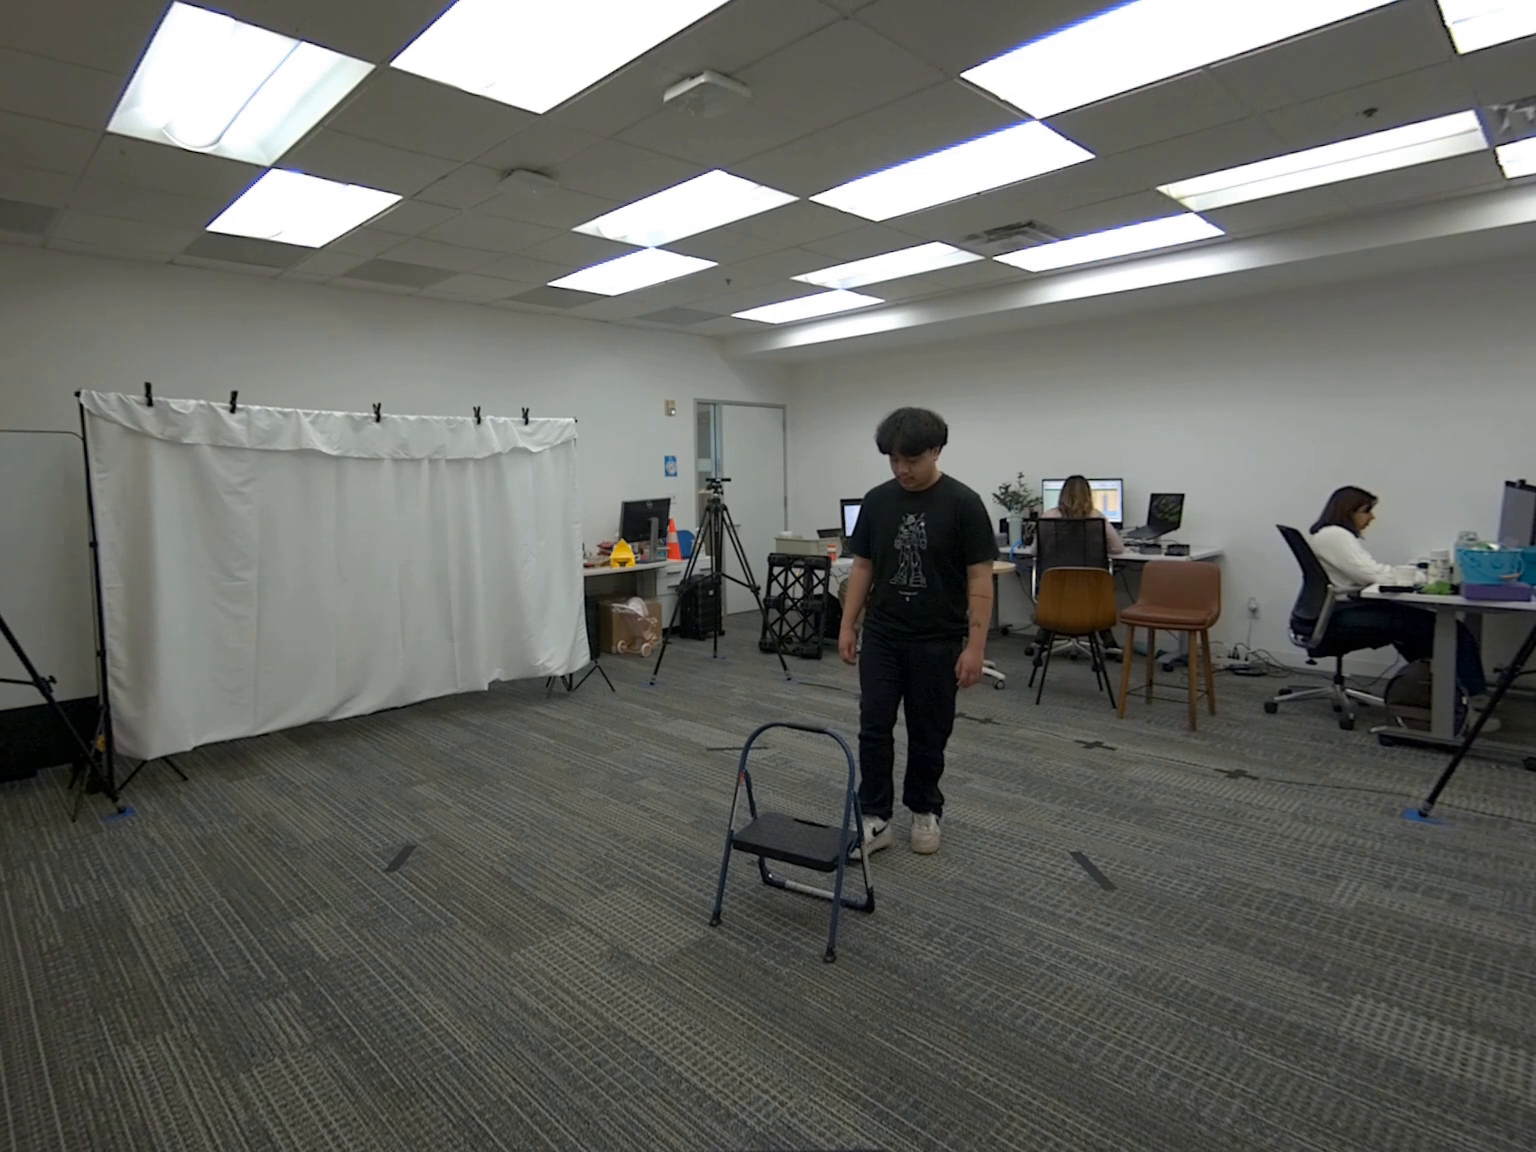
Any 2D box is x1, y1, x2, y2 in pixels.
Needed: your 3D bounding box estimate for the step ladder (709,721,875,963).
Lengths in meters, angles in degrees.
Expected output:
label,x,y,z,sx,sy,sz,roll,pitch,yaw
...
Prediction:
label,x,y,z,sx,sy,sz,roll,pitch,yaw
step ladder,0.081,0.784,2.691,0.442,0.603,0.342,2,6,31
